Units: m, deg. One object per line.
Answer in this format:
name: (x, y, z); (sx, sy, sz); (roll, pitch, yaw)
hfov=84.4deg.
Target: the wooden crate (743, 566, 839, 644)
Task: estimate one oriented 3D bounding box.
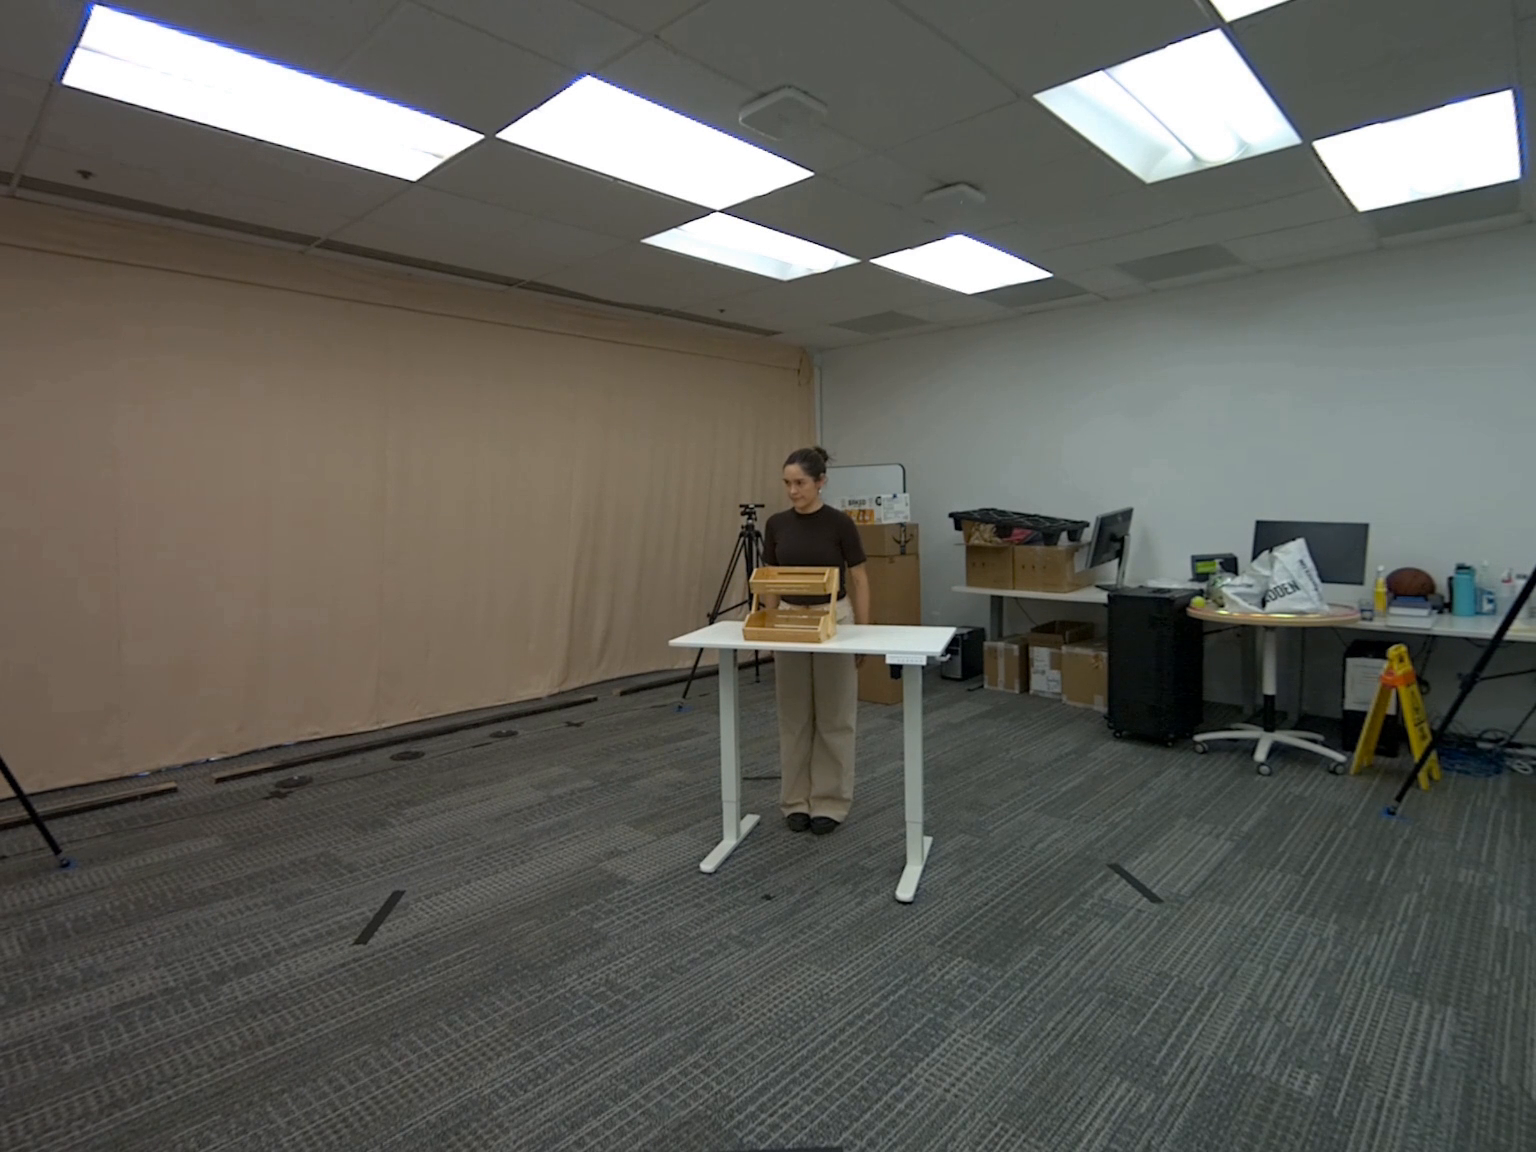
wooden crate: (0.097, 0.102, 3.233); (0.331, 0.273, 0.296); (1, 3, 20)
